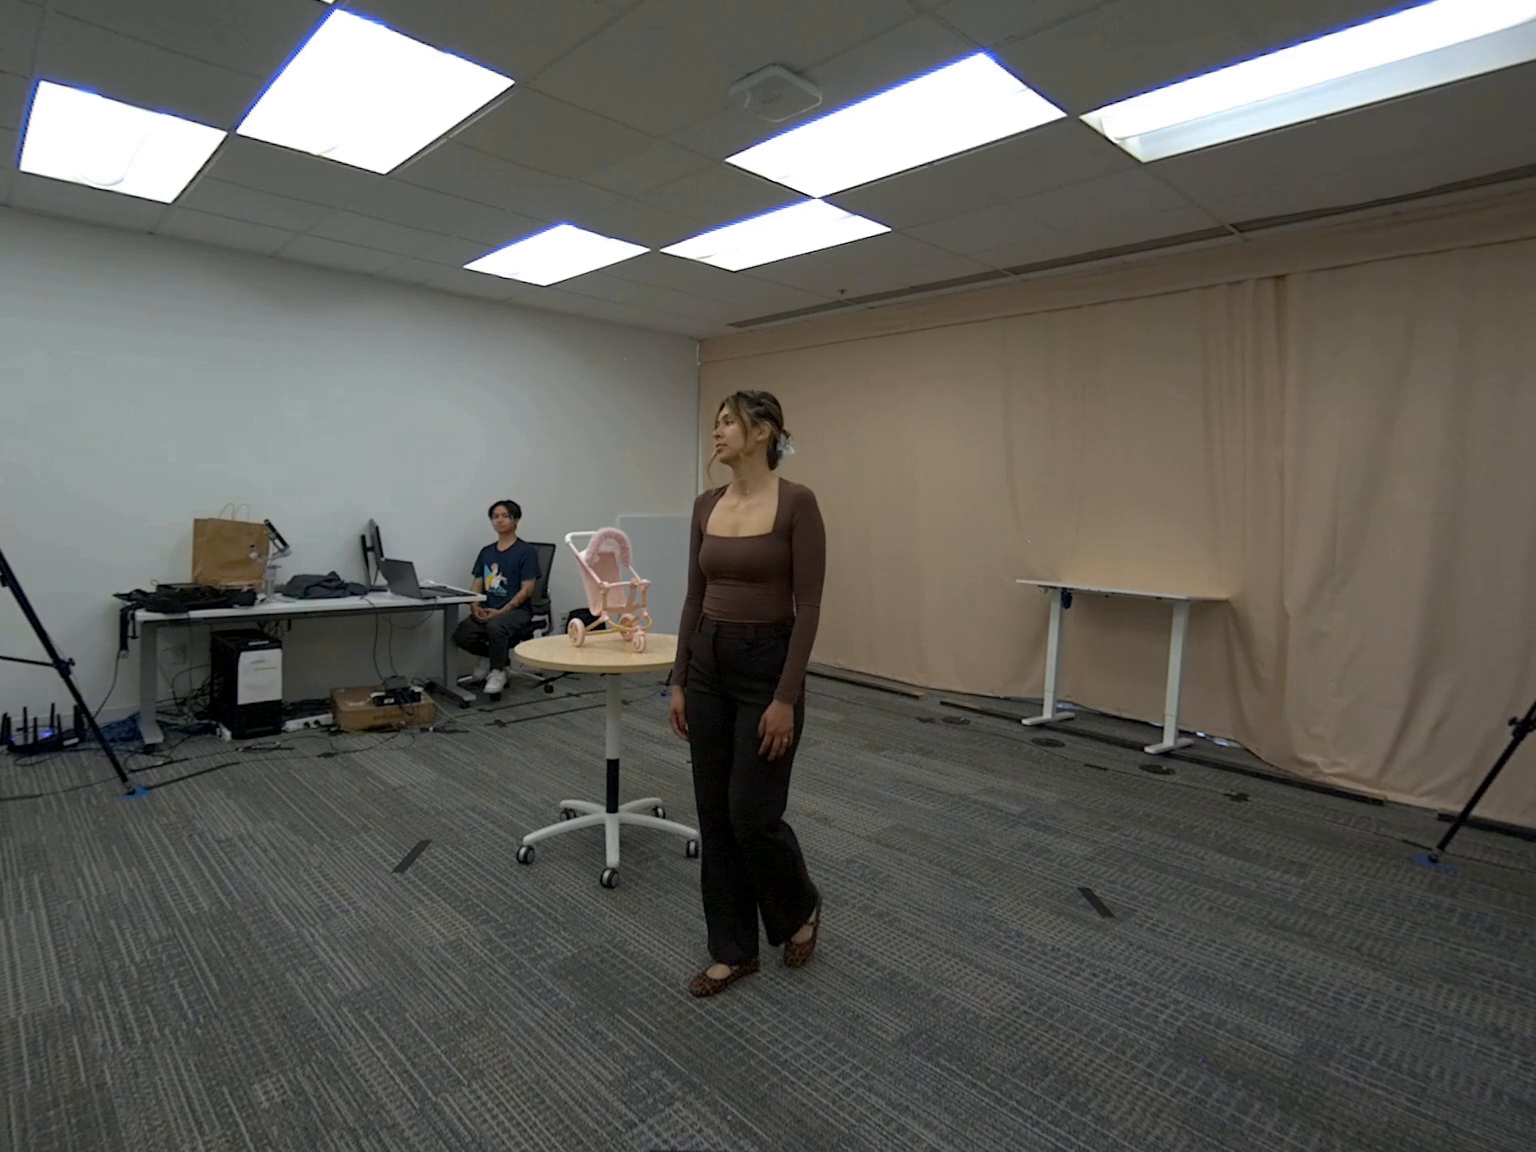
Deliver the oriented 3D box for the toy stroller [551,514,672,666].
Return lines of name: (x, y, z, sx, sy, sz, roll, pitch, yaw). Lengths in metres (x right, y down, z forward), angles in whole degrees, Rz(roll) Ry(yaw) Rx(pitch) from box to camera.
toy stroller: (-0.623, 0.055, 3.325, 0.275, 0.539, 0.347, -1, -10, -39)
